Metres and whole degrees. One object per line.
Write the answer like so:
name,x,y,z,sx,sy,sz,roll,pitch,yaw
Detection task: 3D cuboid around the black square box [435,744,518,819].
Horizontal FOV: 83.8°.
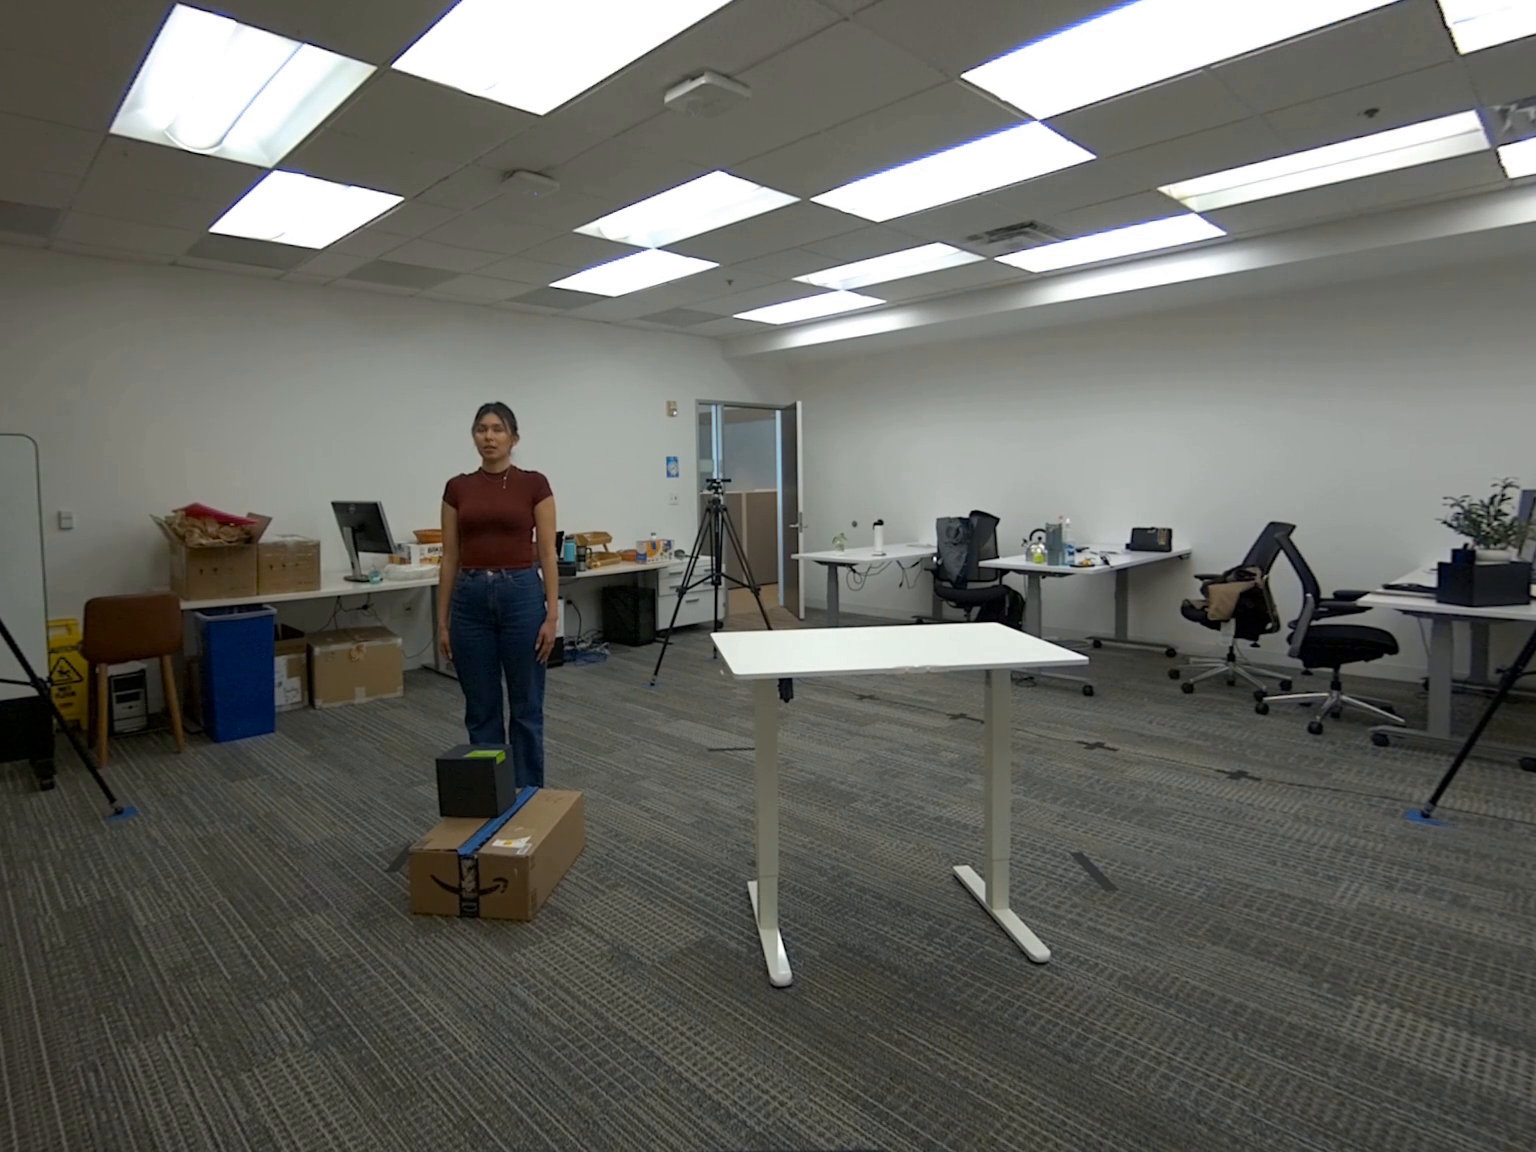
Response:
black square box,-1.058,0.740,3.099,0.230,0.216,0.155,-4,5,11
